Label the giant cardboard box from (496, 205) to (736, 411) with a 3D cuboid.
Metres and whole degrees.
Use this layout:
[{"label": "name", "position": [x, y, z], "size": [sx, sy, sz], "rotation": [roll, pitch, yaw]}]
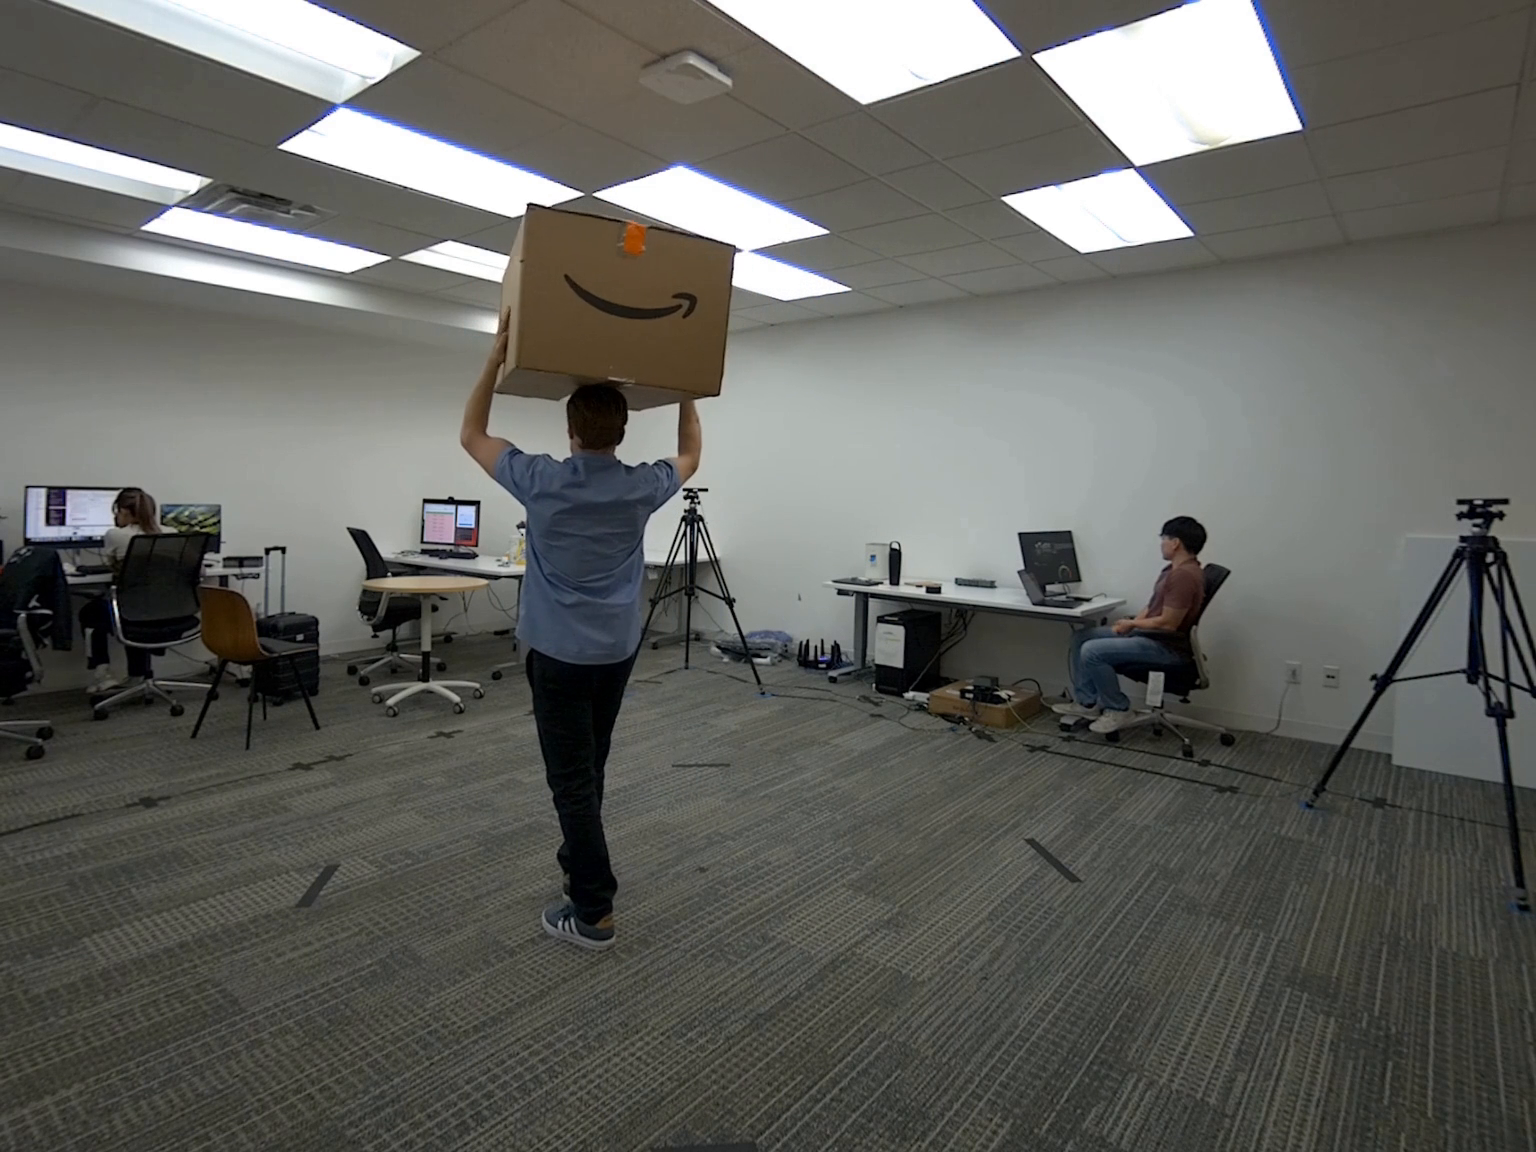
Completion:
[{"label": "giant cardboard box", "position": [-0.563, -0.809, 2.765], "size": [0.565, 0.424, 1.052], "rotation": [5, 6, -21]}]
